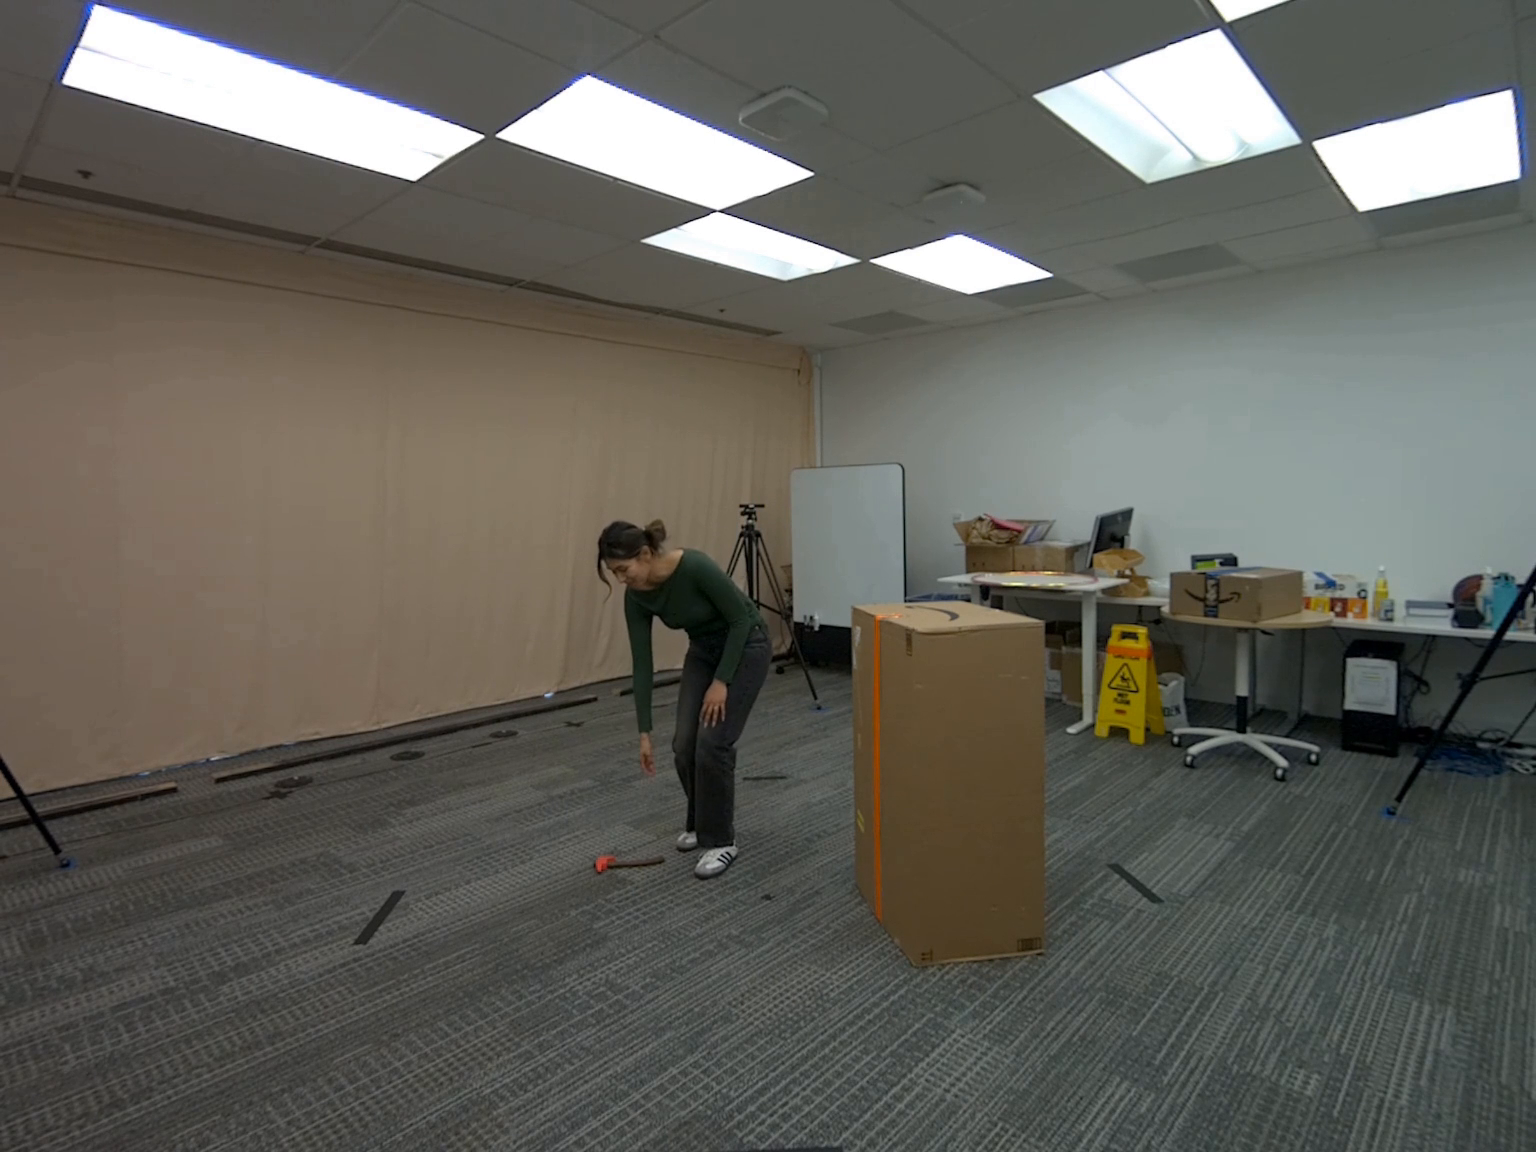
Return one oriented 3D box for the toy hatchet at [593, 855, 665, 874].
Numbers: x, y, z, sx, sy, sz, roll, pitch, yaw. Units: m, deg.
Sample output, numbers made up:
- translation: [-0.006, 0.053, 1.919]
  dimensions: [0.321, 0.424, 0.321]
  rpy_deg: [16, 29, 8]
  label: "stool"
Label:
- translation: [-0.551, 1.119, 3.299]
  dimensions: [0.264, 0.029, 0.134]
  rpy_deg: [-2, 3, -22]
  label: "toy hatchet"
